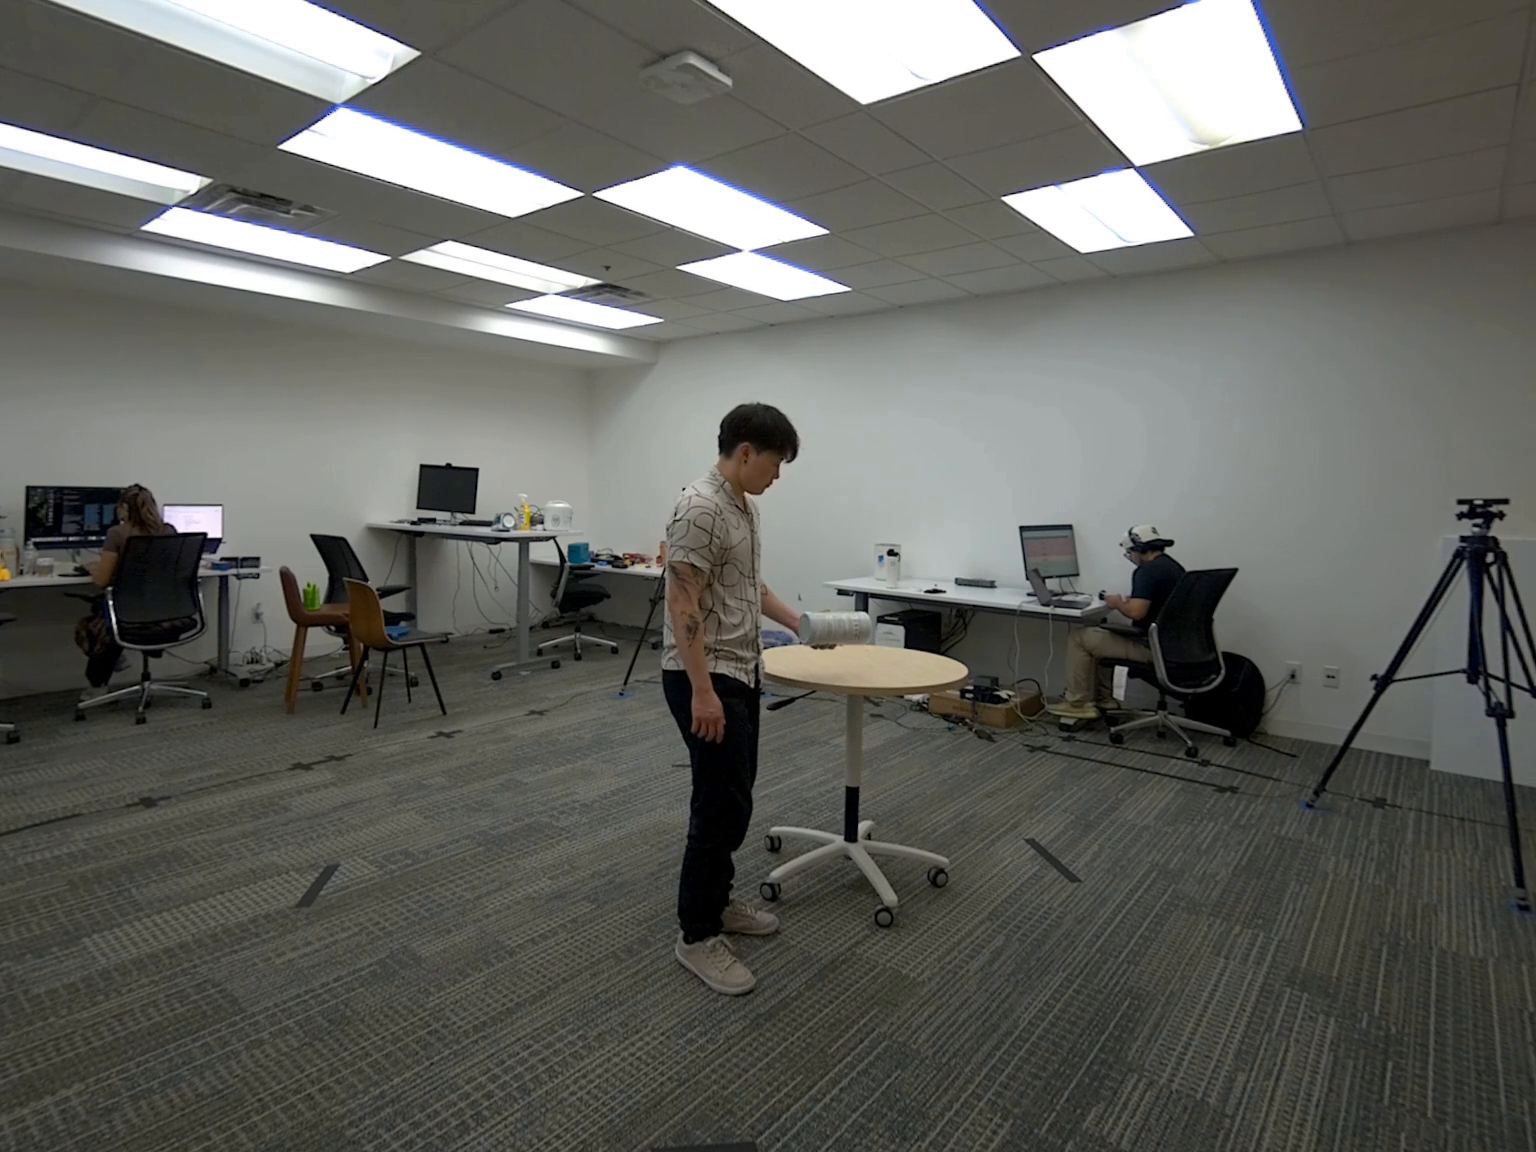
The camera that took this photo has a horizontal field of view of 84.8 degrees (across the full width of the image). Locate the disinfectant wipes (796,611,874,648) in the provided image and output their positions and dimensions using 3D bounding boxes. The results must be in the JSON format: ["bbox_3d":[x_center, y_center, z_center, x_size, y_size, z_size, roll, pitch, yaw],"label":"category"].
[{"bbox_3d":[0.200,0.168,2.726,0.214,0.117,0.120,0,4,-15],"label":"disinfectant wipes"}]
